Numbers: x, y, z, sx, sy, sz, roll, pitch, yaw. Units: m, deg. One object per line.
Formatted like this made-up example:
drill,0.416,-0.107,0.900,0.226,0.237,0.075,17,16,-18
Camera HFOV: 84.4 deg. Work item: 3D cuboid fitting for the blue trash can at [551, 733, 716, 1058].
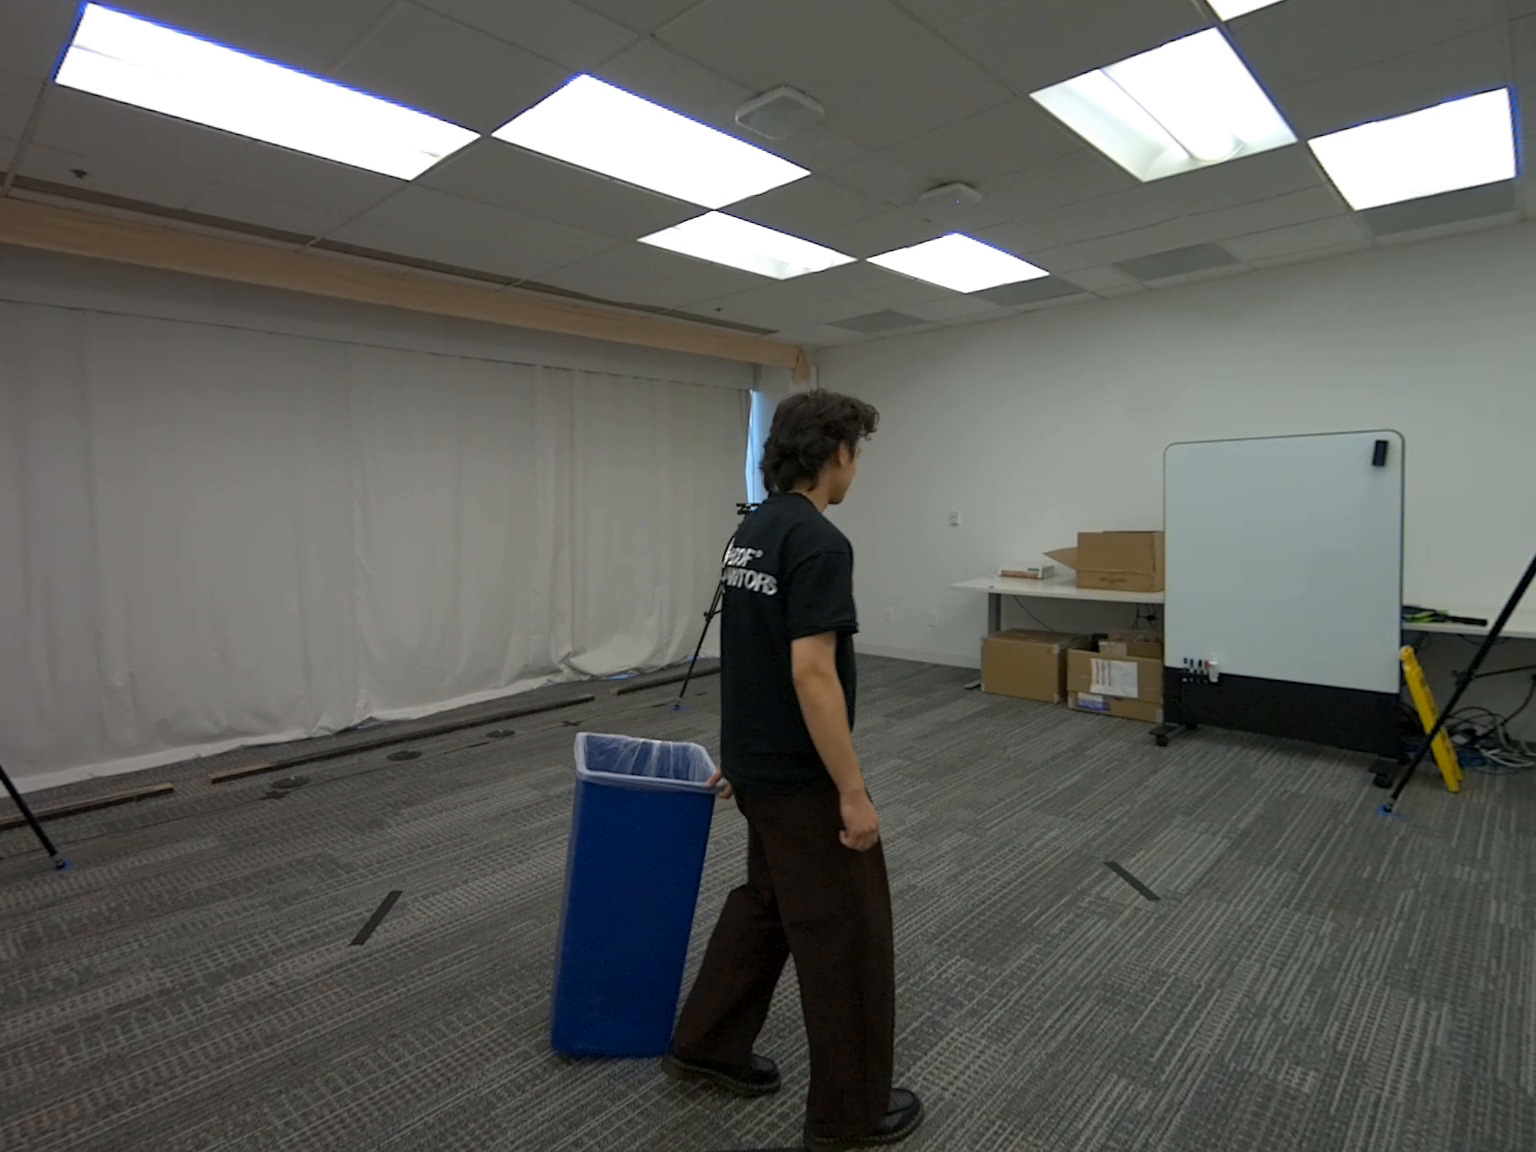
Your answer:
blue trash can,-0.371,0.835,2.236,0.372,0.713,0.380,7,1,-14
